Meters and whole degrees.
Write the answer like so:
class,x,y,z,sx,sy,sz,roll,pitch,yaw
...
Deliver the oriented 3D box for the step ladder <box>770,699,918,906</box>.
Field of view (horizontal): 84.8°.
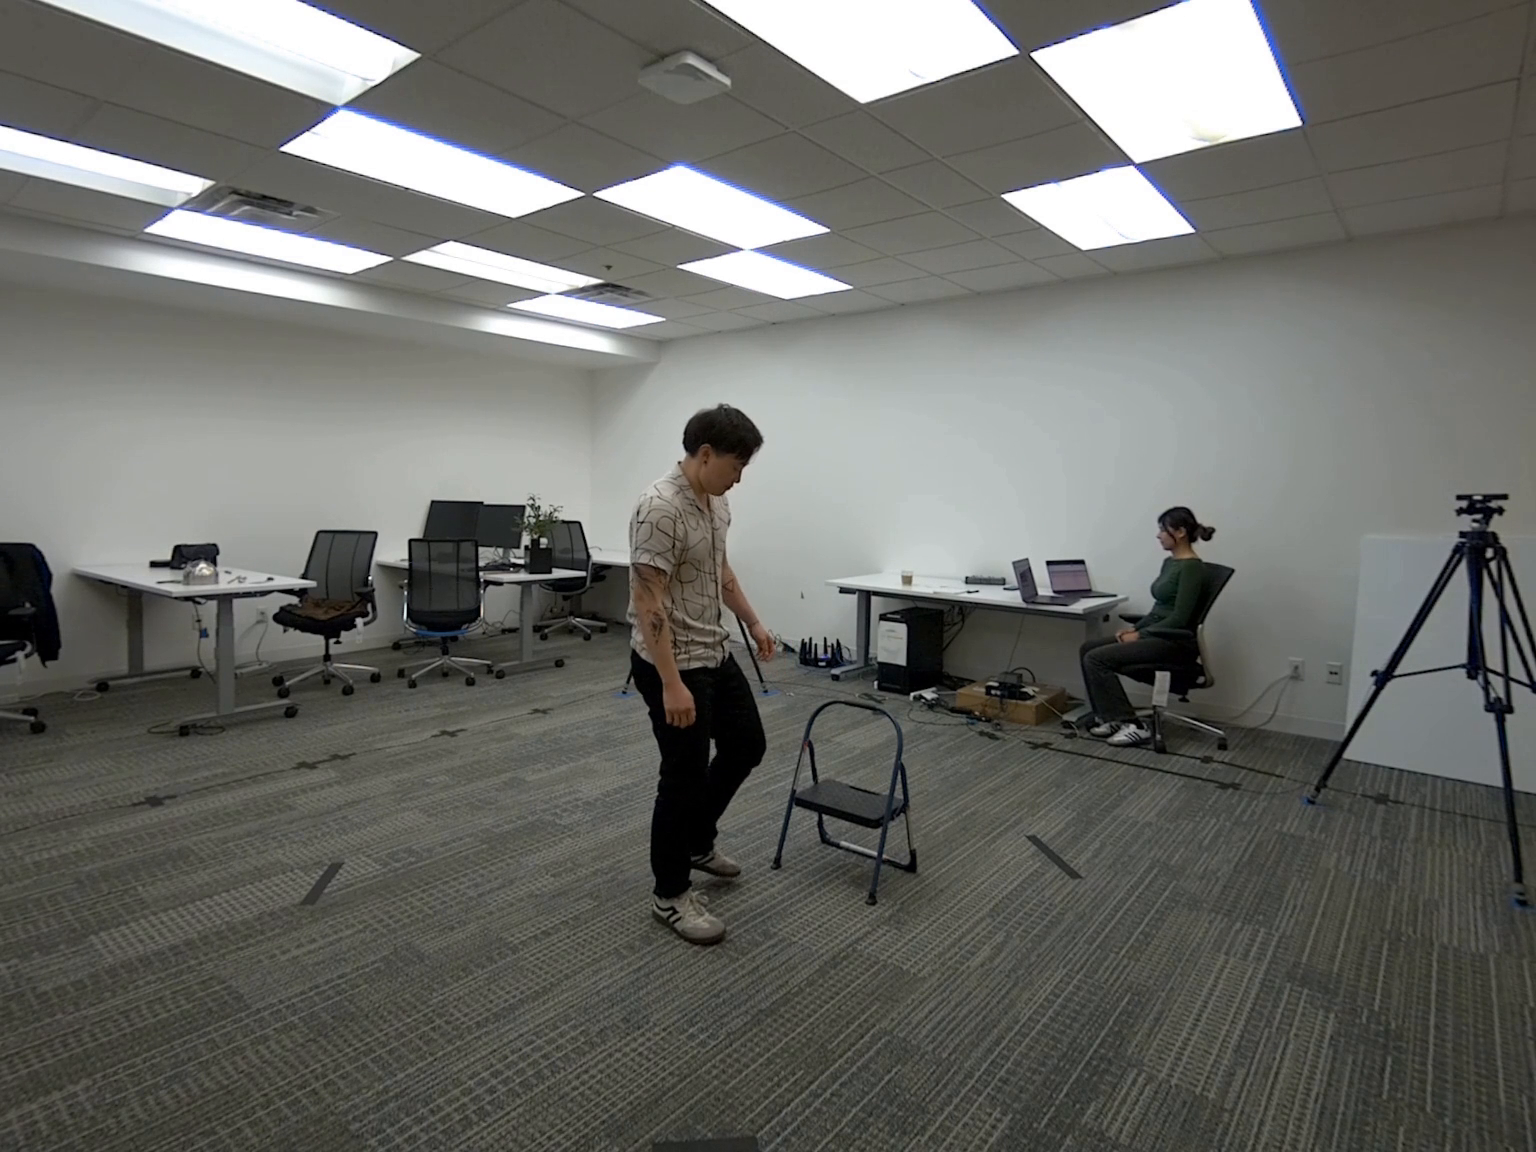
class,x,y,z,sx,sy,sz,roll,pitch,yaw
step ladder,0.280,0.769,3.101,0.445,0.604,0.339,4,4,37
